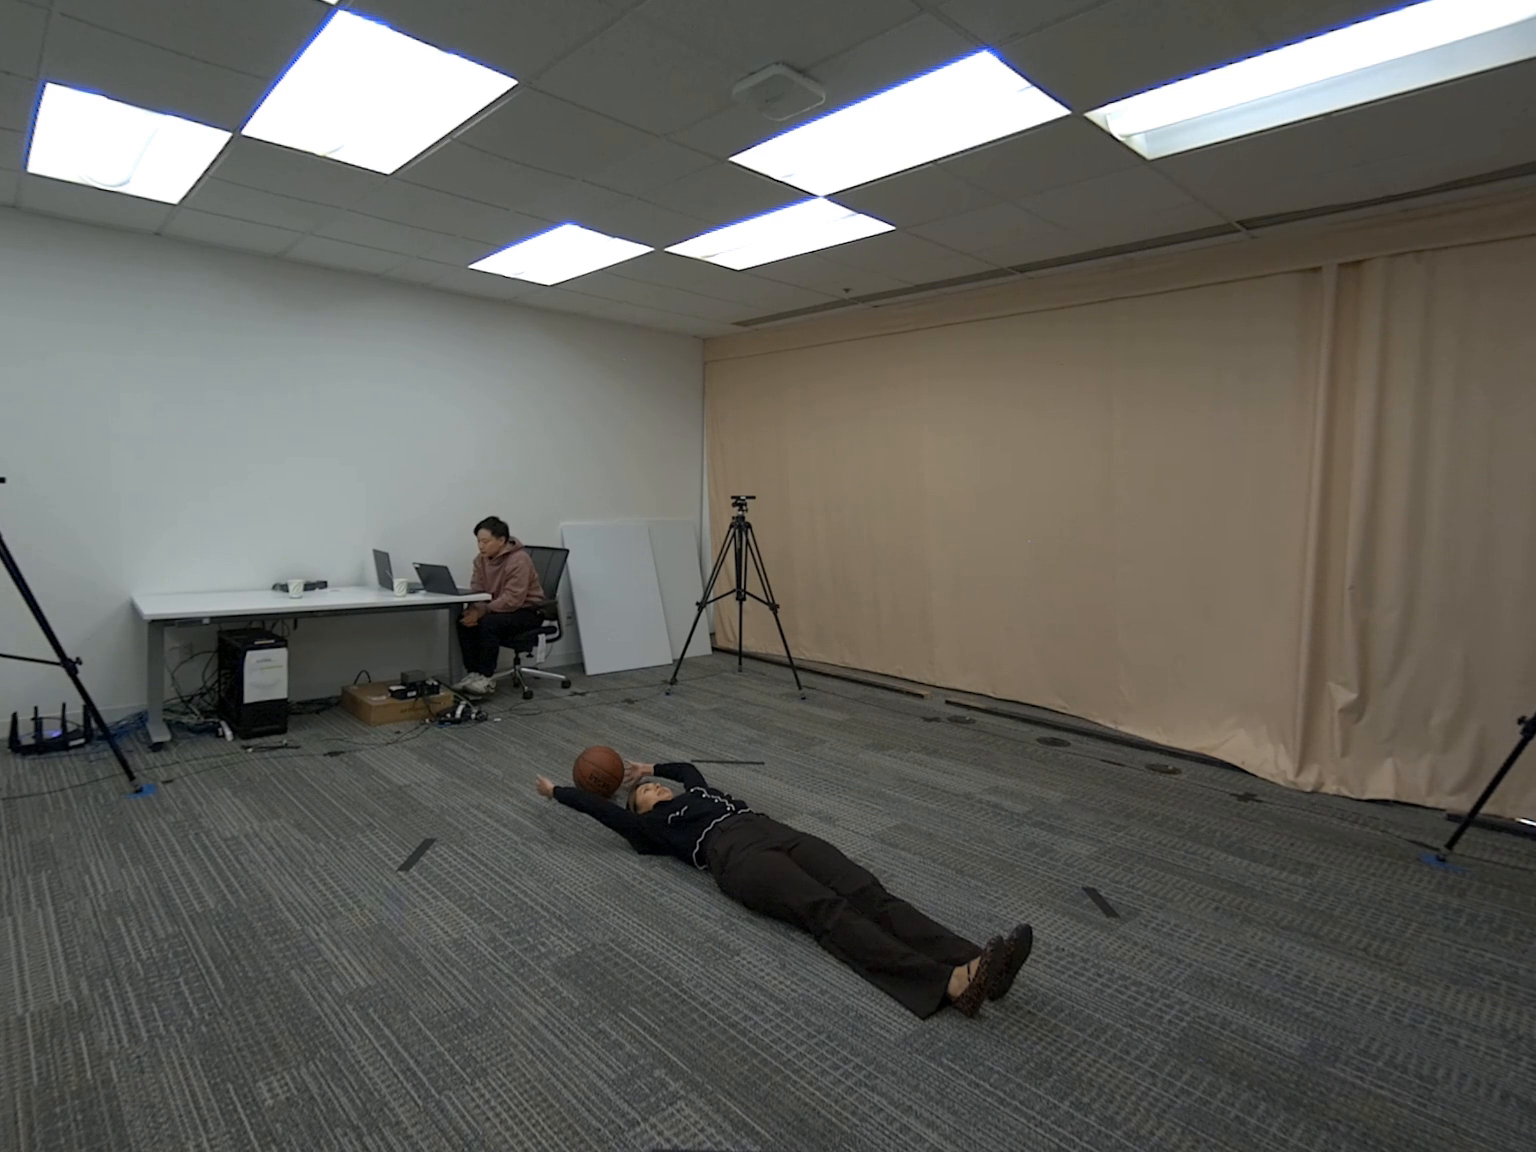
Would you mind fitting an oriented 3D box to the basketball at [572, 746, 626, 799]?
[{"bbox_3d":[-0.785,0.899,3.870,0.236,0.235,0.237,1,4,-1],"label":"basketball"}]
